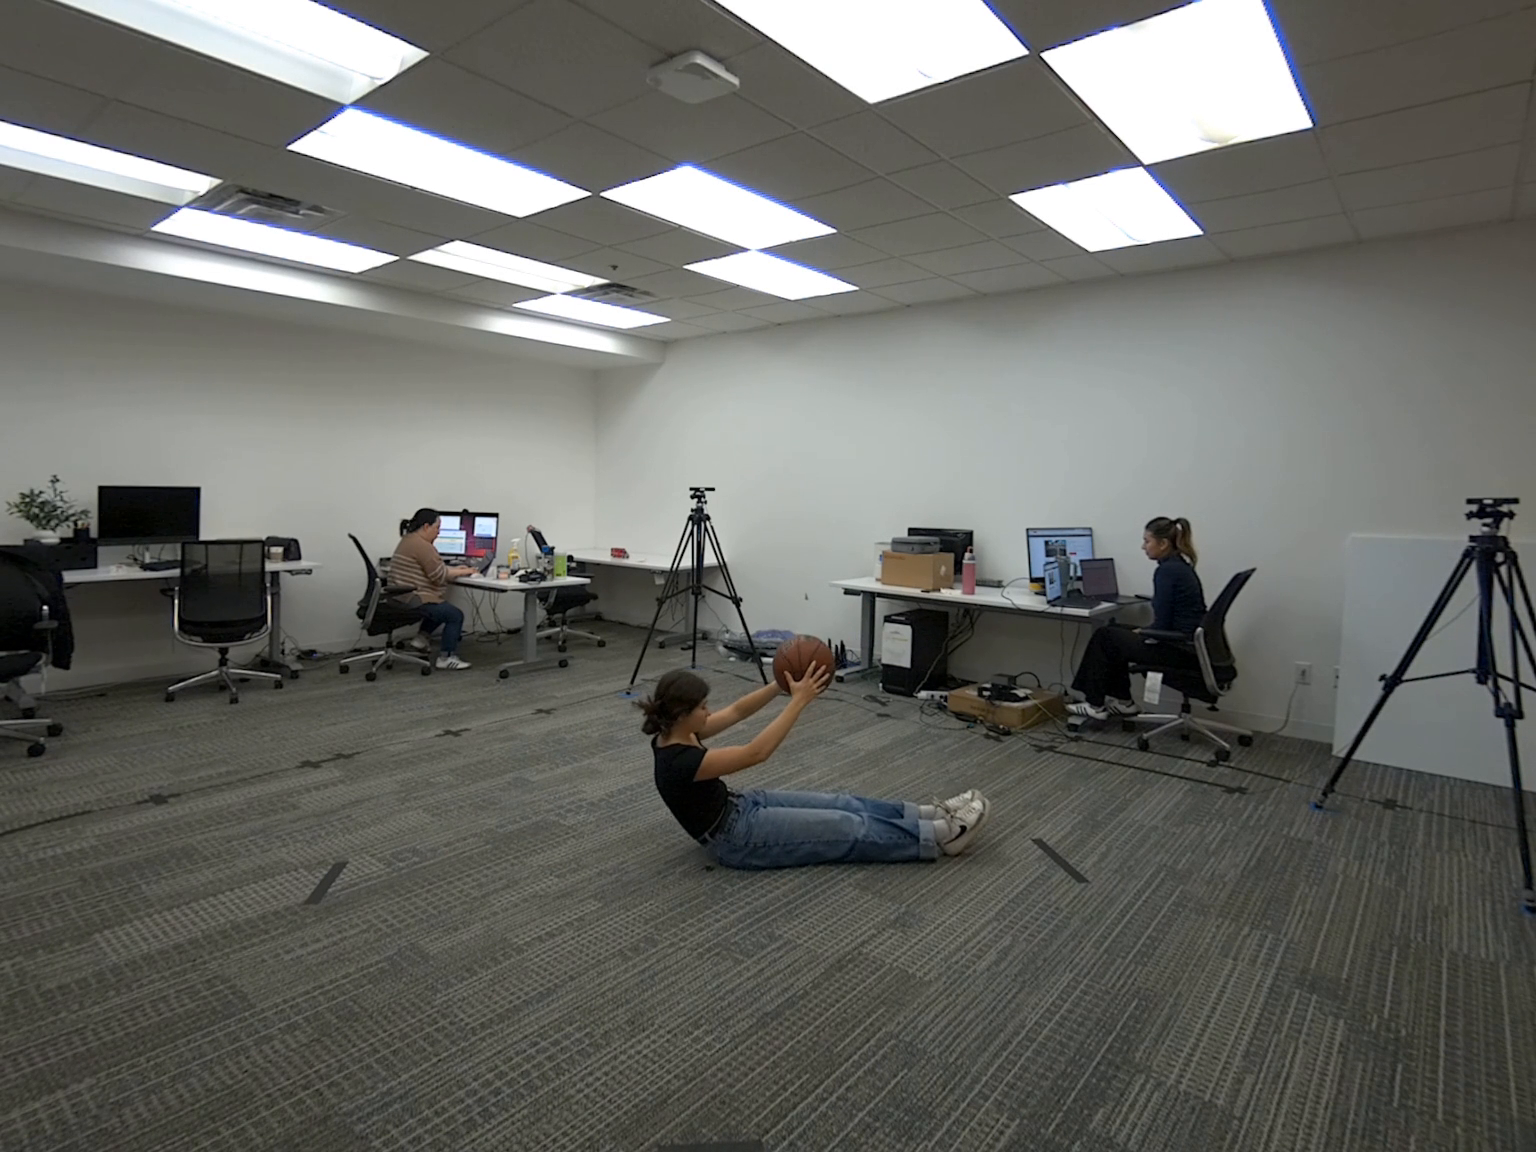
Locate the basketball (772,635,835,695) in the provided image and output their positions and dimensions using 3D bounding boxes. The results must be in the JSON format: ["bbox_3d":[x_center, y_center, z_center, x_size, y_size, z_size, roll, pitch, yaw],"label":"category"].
[{"bbox_3d":[0.123,0.338,3.230,0.235,0.235,0.237,1,4,-2],"label":"basketball"}]
